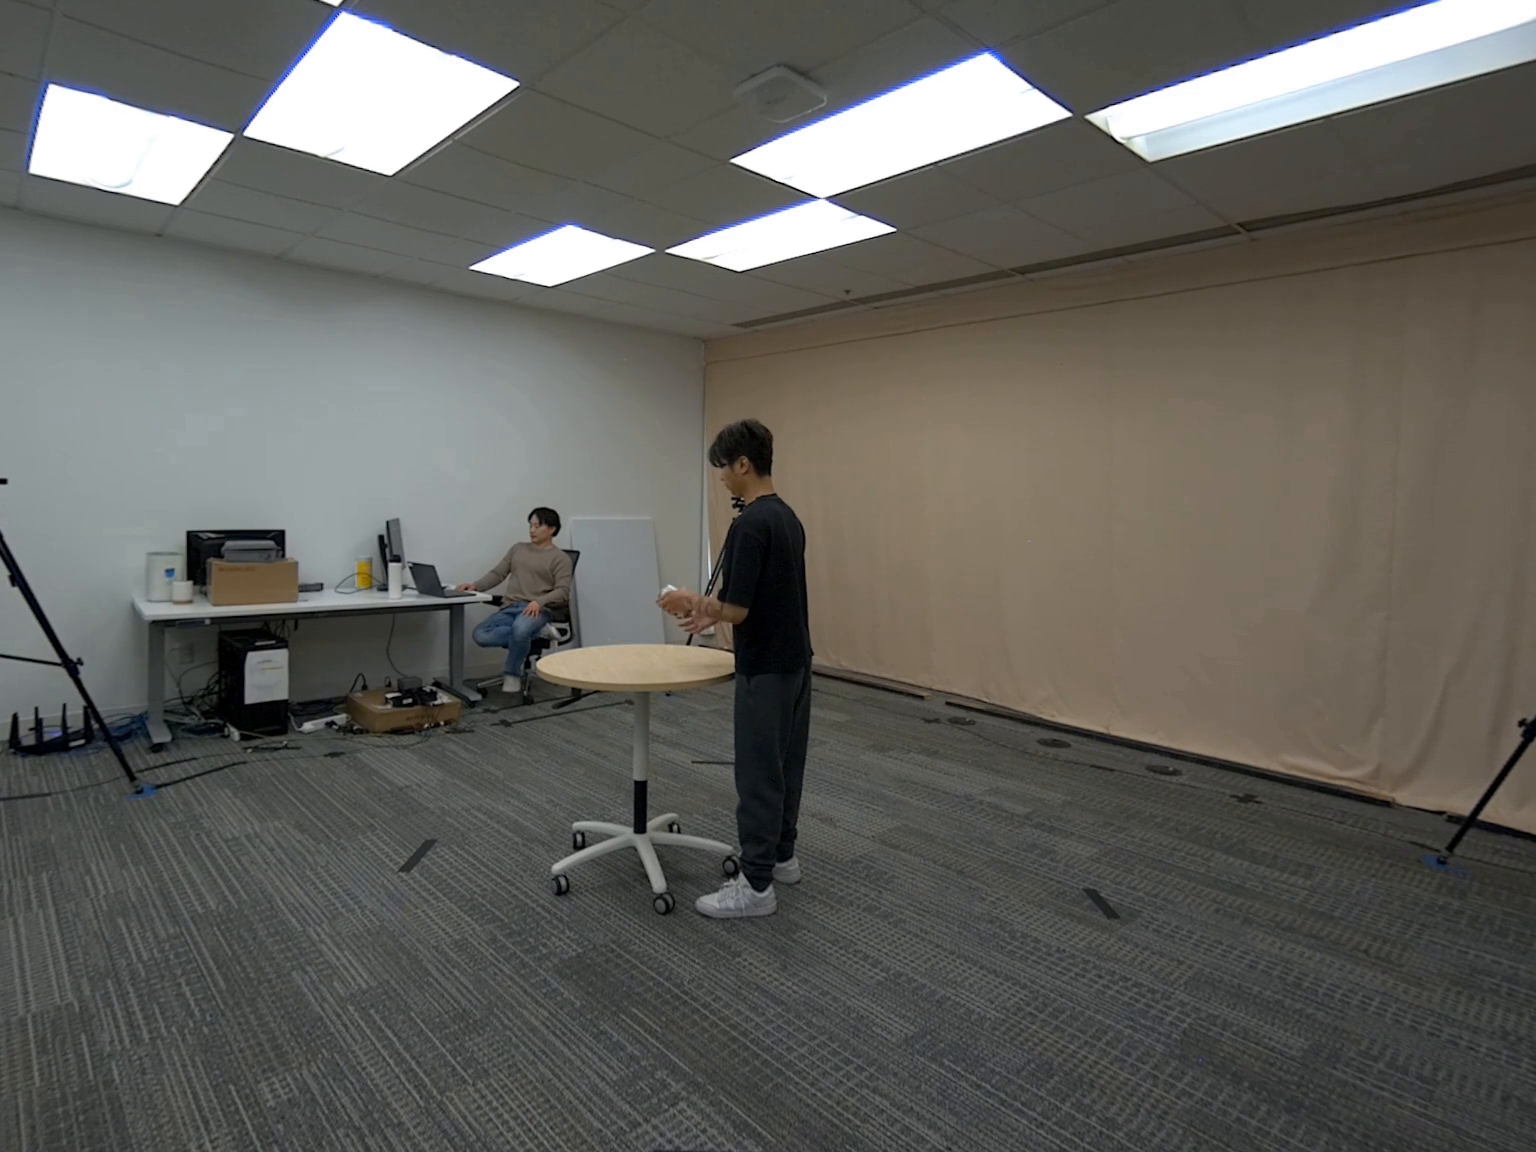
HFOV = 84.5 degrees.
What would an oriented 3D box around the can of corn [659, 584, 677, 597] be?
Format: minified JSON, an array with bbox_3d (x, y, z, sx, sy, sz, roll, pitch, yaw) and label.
[{"bbox_3d":[-0.328,0.103,2.928,0.110,0.074,0.074,5,4,-5],"label":"can of corn"}]
